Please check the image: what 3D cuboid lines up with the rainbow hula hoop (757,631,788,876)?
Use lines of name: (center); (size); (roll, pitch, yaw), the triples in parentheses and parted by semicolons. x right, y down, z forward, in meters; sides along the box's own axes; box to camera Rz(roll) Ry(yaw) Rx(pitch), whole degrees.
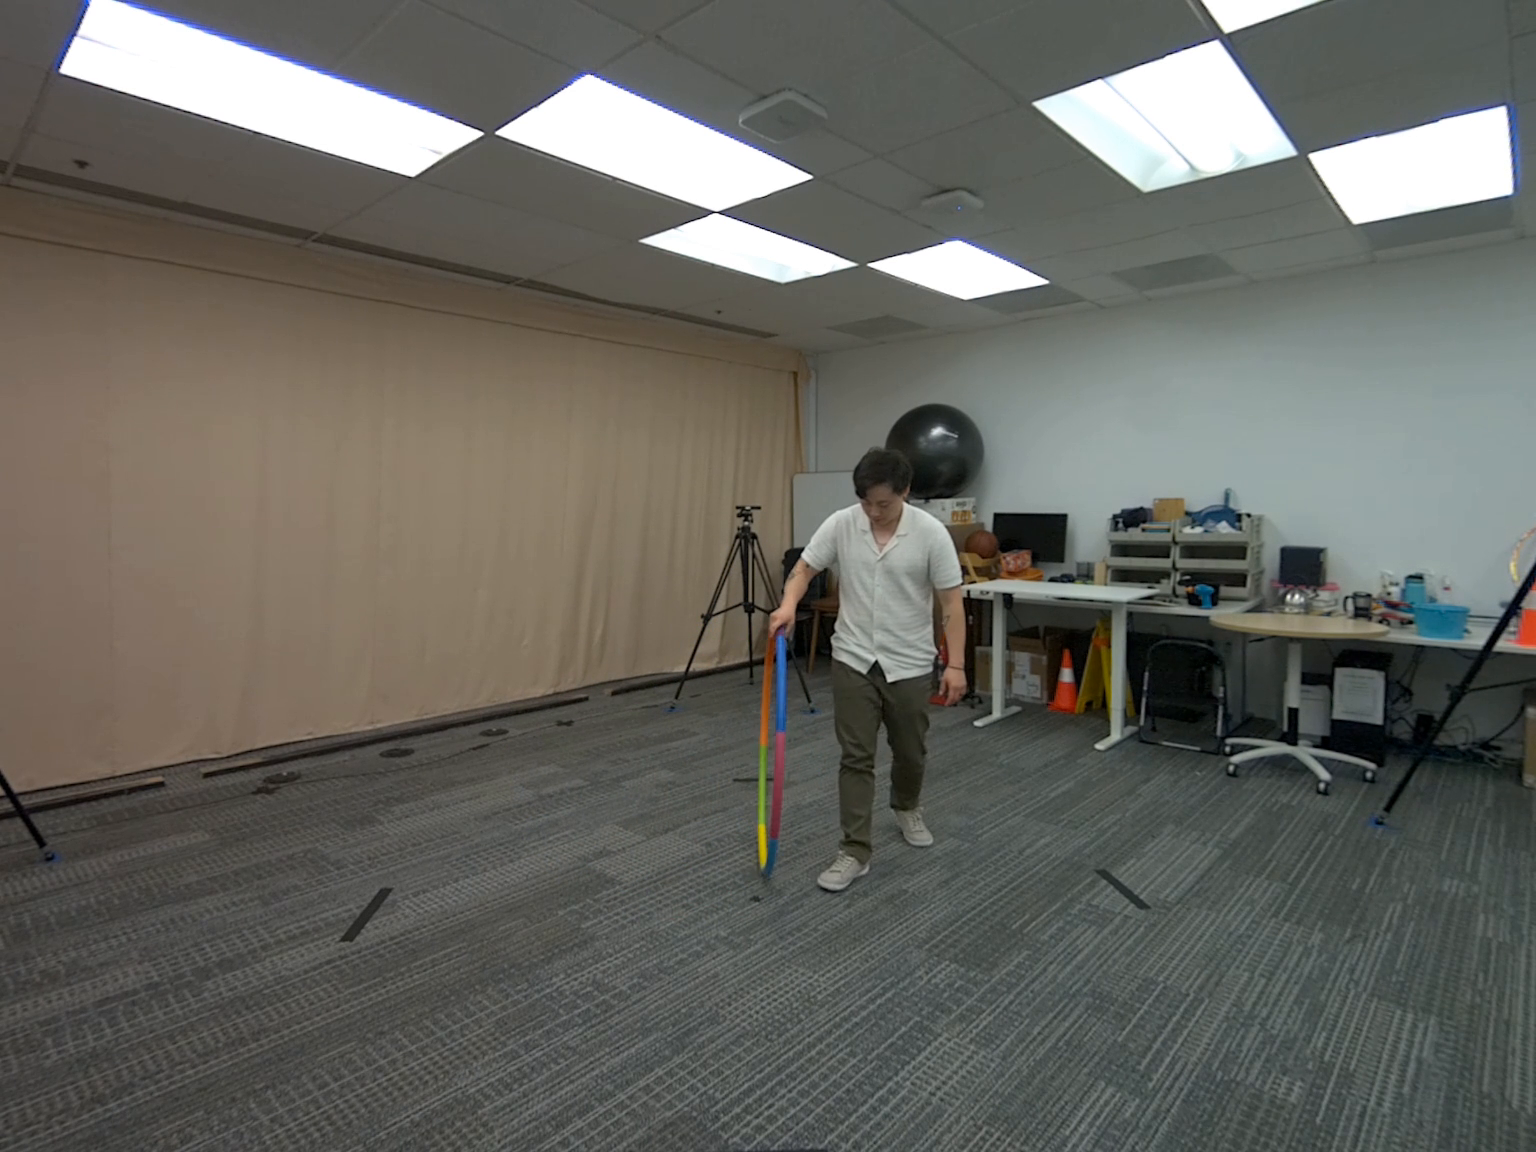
rainbow hula hoop: (0.018, 0.634, 3.258); (0.035, 0.977, 0.980); (4, 4, -1)
